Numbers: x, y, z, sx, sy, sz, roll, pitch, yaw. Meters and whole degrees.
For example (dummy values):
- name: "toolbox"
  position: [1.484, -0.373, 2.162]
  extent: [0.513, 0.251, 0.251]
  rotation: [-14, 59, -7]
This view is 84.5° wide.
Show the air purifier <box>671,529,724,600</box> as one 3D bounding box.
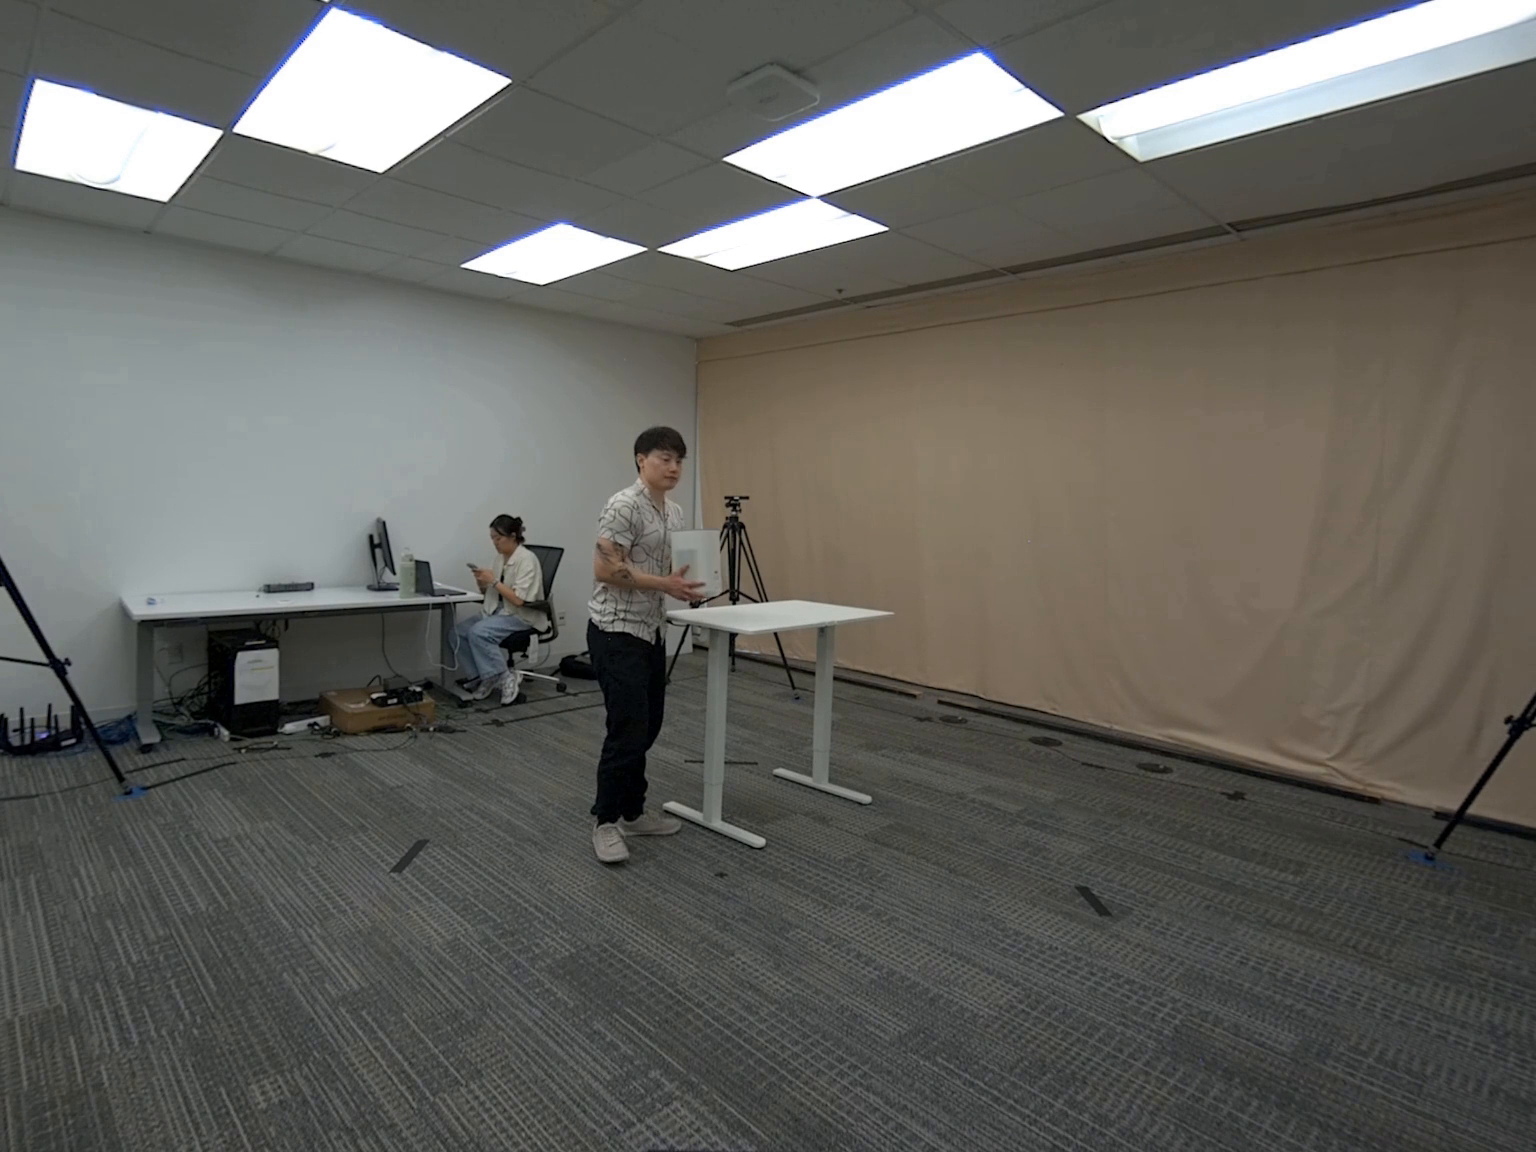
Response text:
- name: "air purifier"
  position: [-0.296, -0.047, 3.313]
  extent: [0.174, 0.266, 0.168]
  rotation: [-6, -2, 21]
